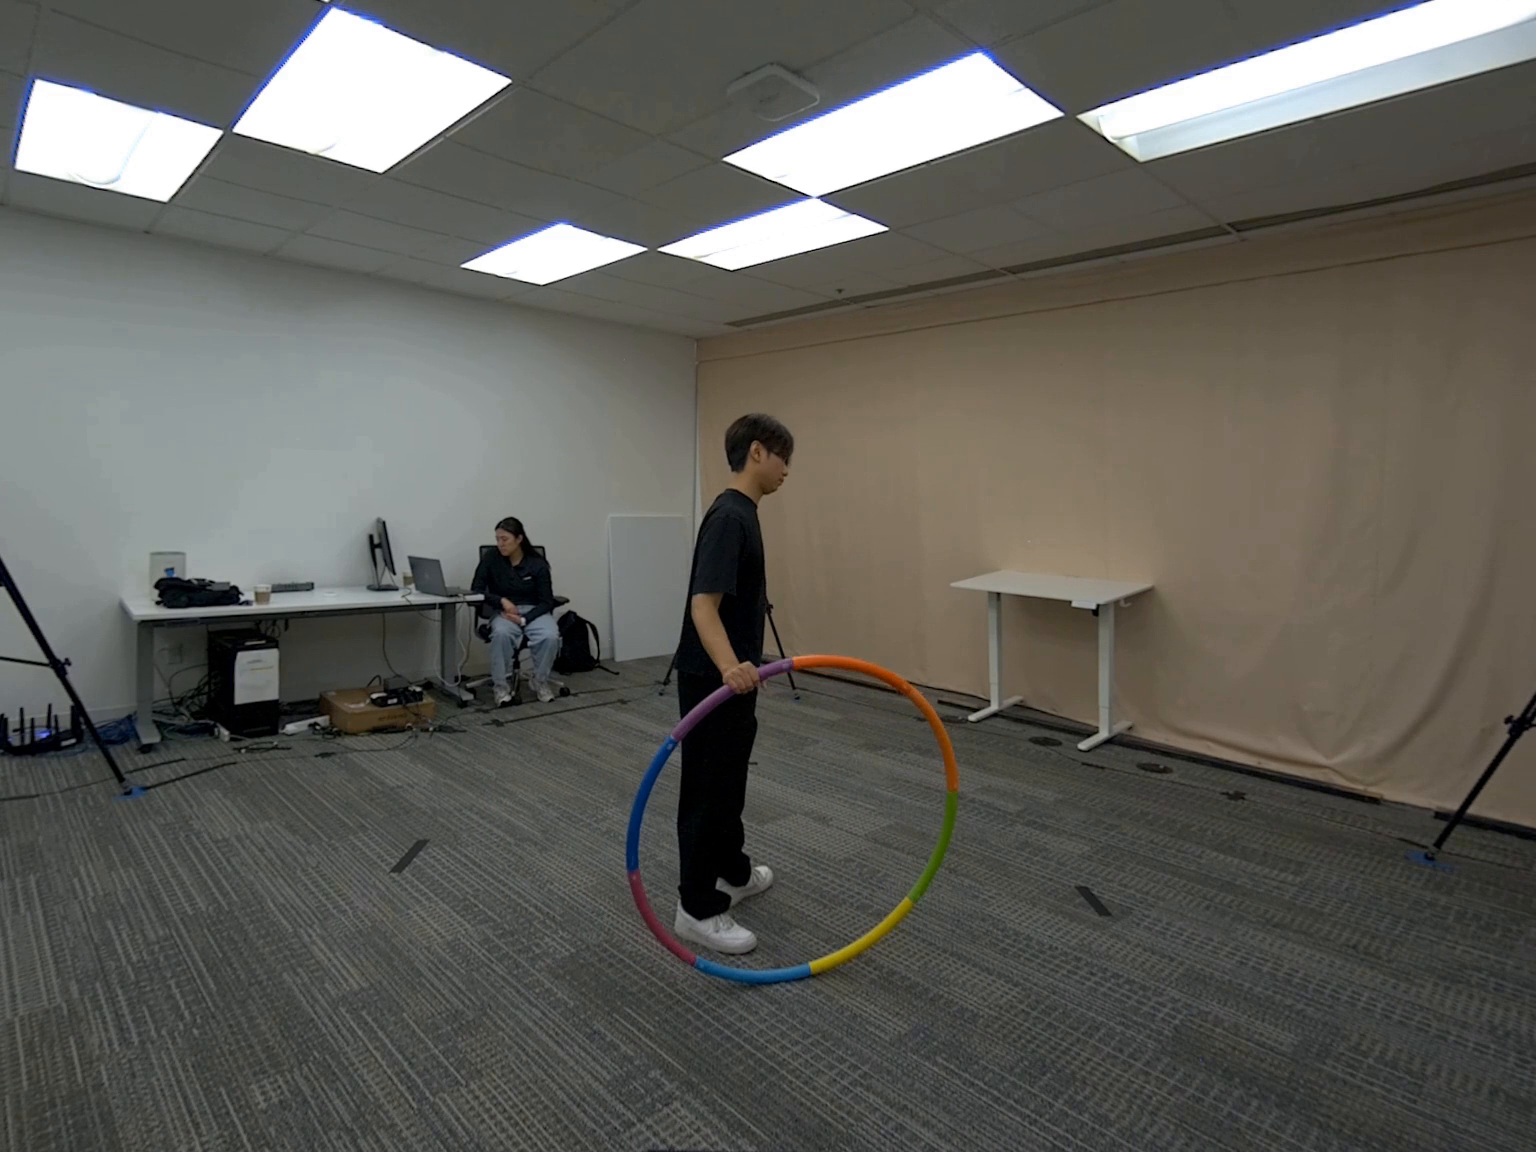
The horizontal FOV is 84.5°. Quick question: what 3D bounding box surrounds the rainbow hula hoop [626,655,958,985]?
[{"bbox_3d":[0.088,0.695,2.356,0.965,0.971,0.036,0,11,-18],"label":"rainbow hula hoop"}]
